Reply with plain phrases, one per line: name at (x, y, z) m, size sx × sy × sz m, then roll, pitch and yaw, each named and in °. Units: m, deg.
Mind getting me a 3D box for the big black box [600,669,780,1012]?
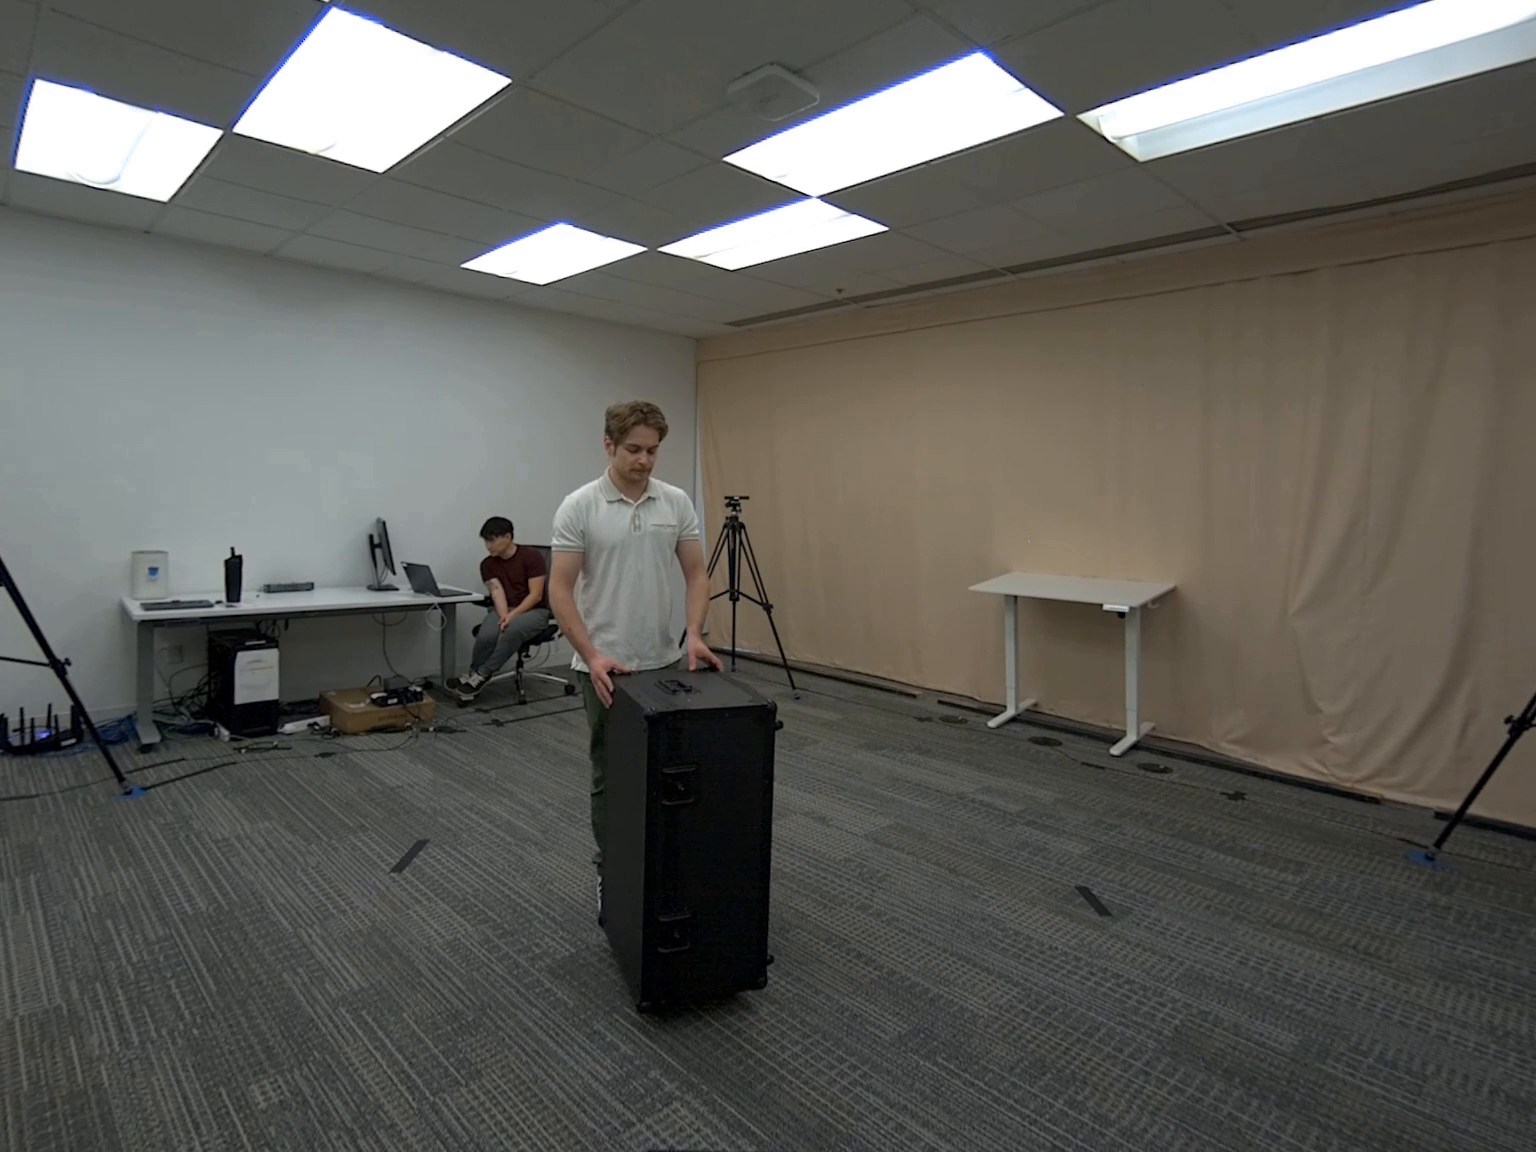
big black box at (-0.249, 0.747, 2.409) m, size 0.379 × 0.866 × 0.534 m, roll 0°, pitch 4°, yaw -23°
